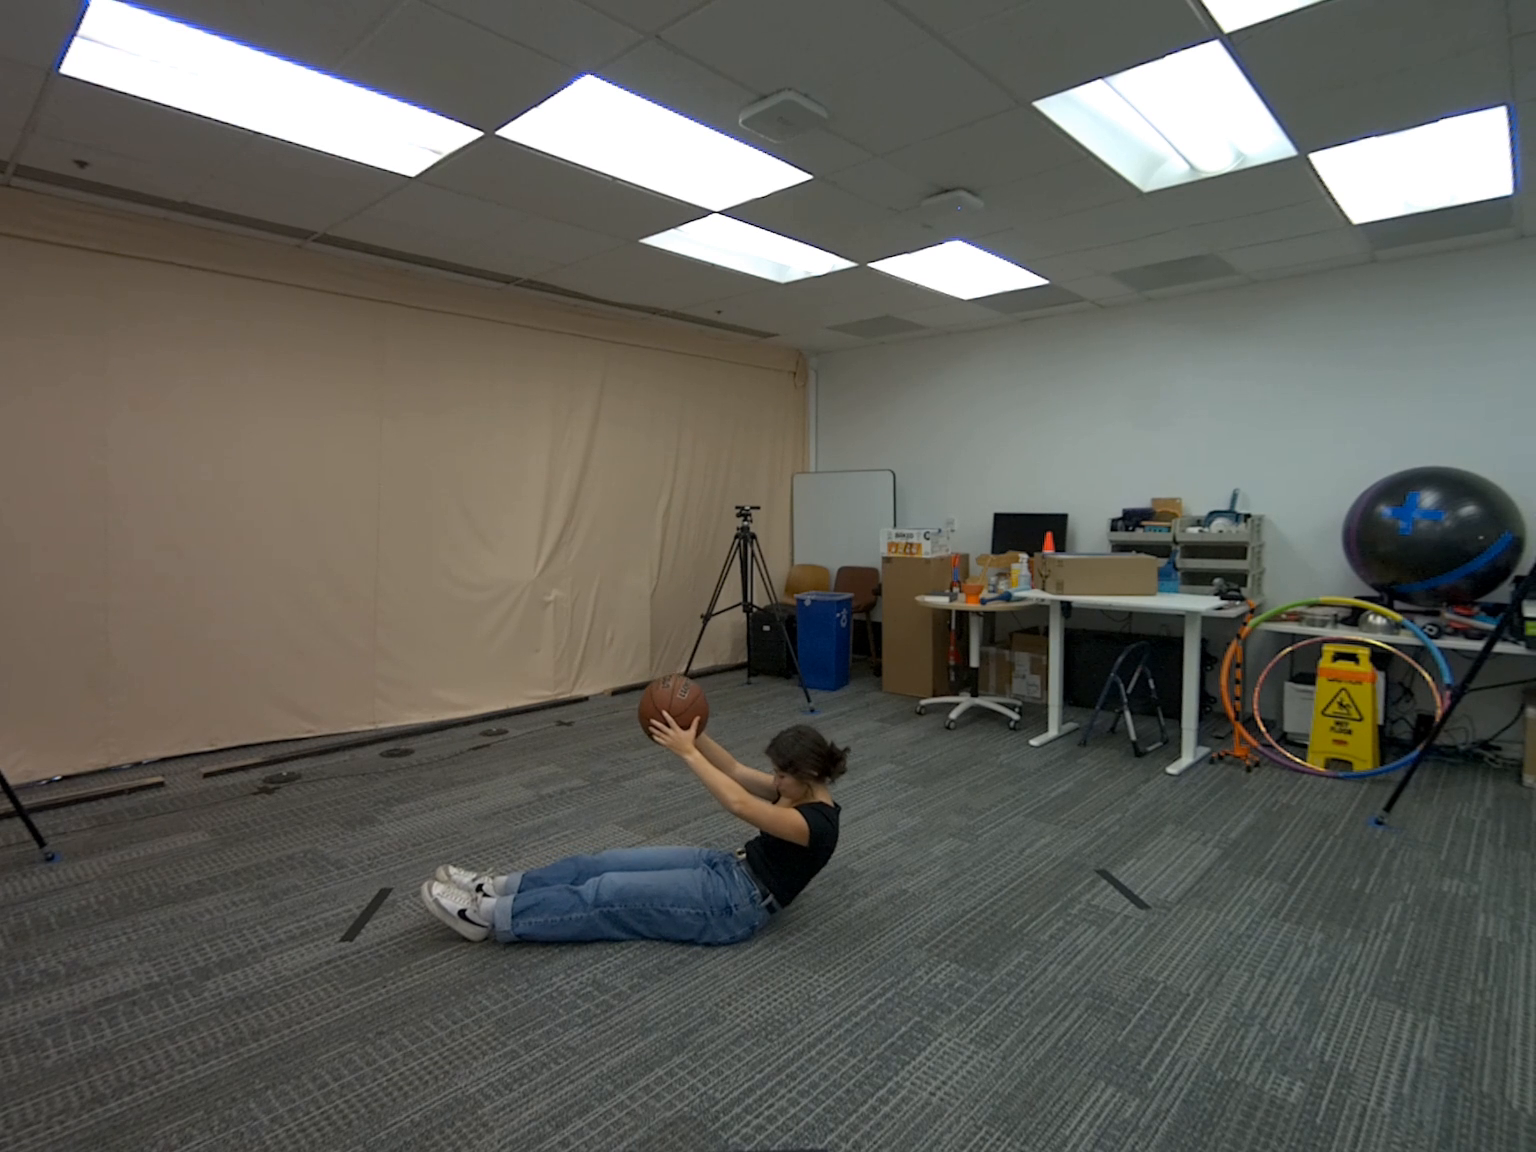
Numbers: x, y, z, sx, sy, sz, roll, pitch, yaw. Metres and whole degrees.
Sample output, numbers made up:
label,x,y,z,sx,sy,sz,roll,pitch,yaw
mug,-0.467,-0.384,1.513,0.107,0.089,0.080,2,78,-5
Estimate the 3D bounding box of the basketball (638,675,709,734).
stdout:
label,x,y,z,sx,sy,sz,roll,pitch,yaw
basketball,-0.310,0.450,2.826,0.236,0.235,0.237,0,4,-2
